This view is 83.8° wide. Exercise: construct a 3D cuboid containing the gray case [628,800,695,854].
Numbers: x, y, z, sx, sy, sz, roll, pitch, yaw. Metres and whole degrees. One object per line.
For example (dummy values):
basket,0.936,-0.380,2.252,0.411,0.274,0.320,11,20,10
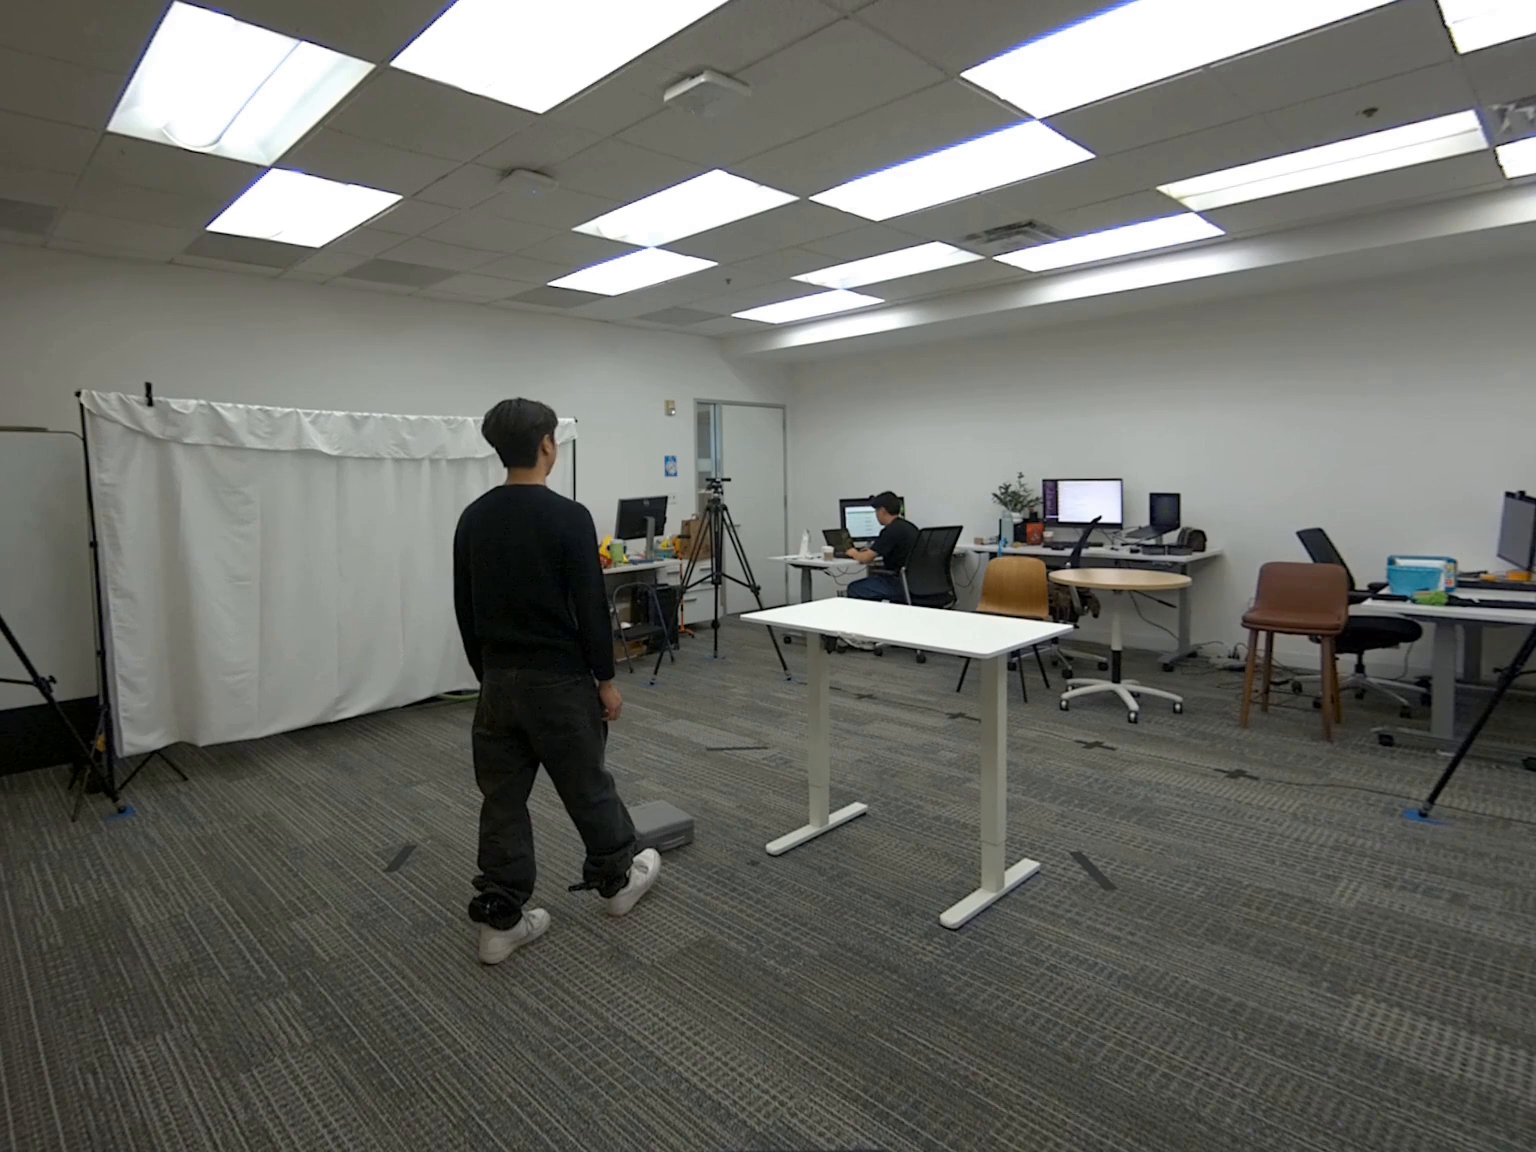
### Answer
gray case,-0.441,0.967,3.302,0.250,0.104,0.269,-4,8,-38
